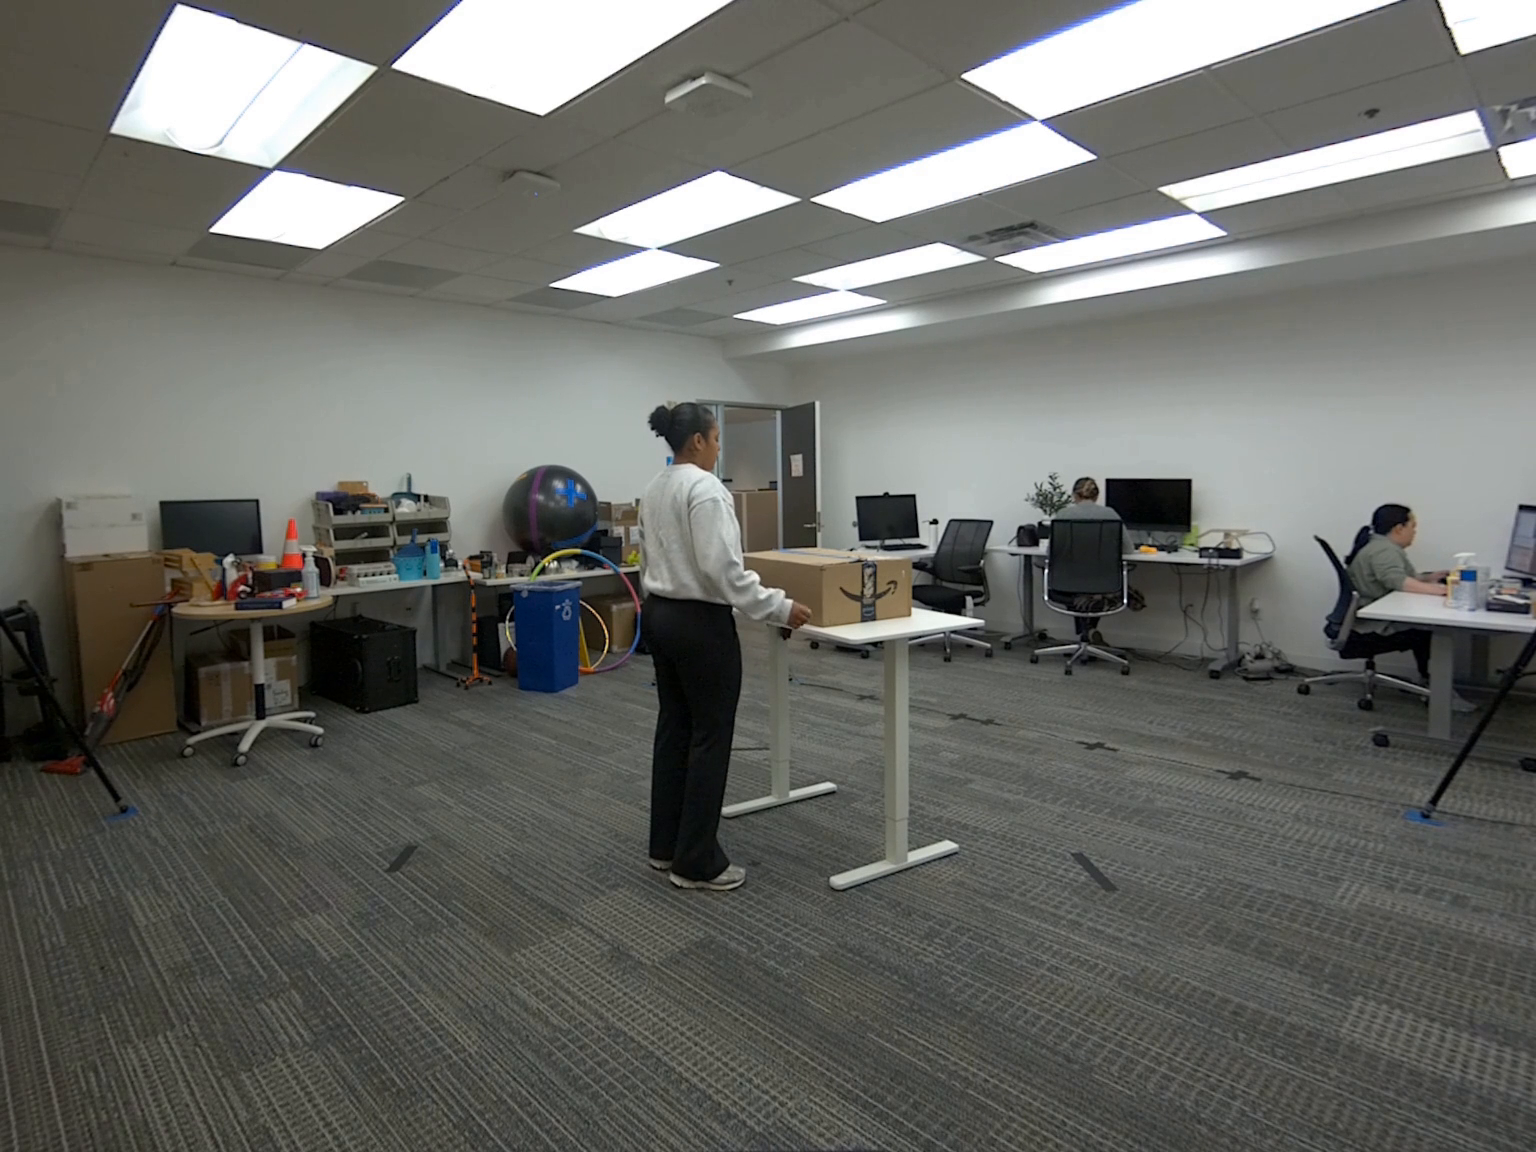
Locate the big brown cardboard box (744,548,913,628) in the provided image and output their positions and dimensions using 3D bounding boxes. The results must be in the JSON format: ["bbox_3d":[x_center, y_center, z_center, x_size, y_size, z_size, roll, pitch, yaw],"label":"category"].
[{"bbox_3d":[0.198,0.029,3.270,0.407,0.232,0.606,-5,7,-33],"label":"big brown cardboard box"}]
